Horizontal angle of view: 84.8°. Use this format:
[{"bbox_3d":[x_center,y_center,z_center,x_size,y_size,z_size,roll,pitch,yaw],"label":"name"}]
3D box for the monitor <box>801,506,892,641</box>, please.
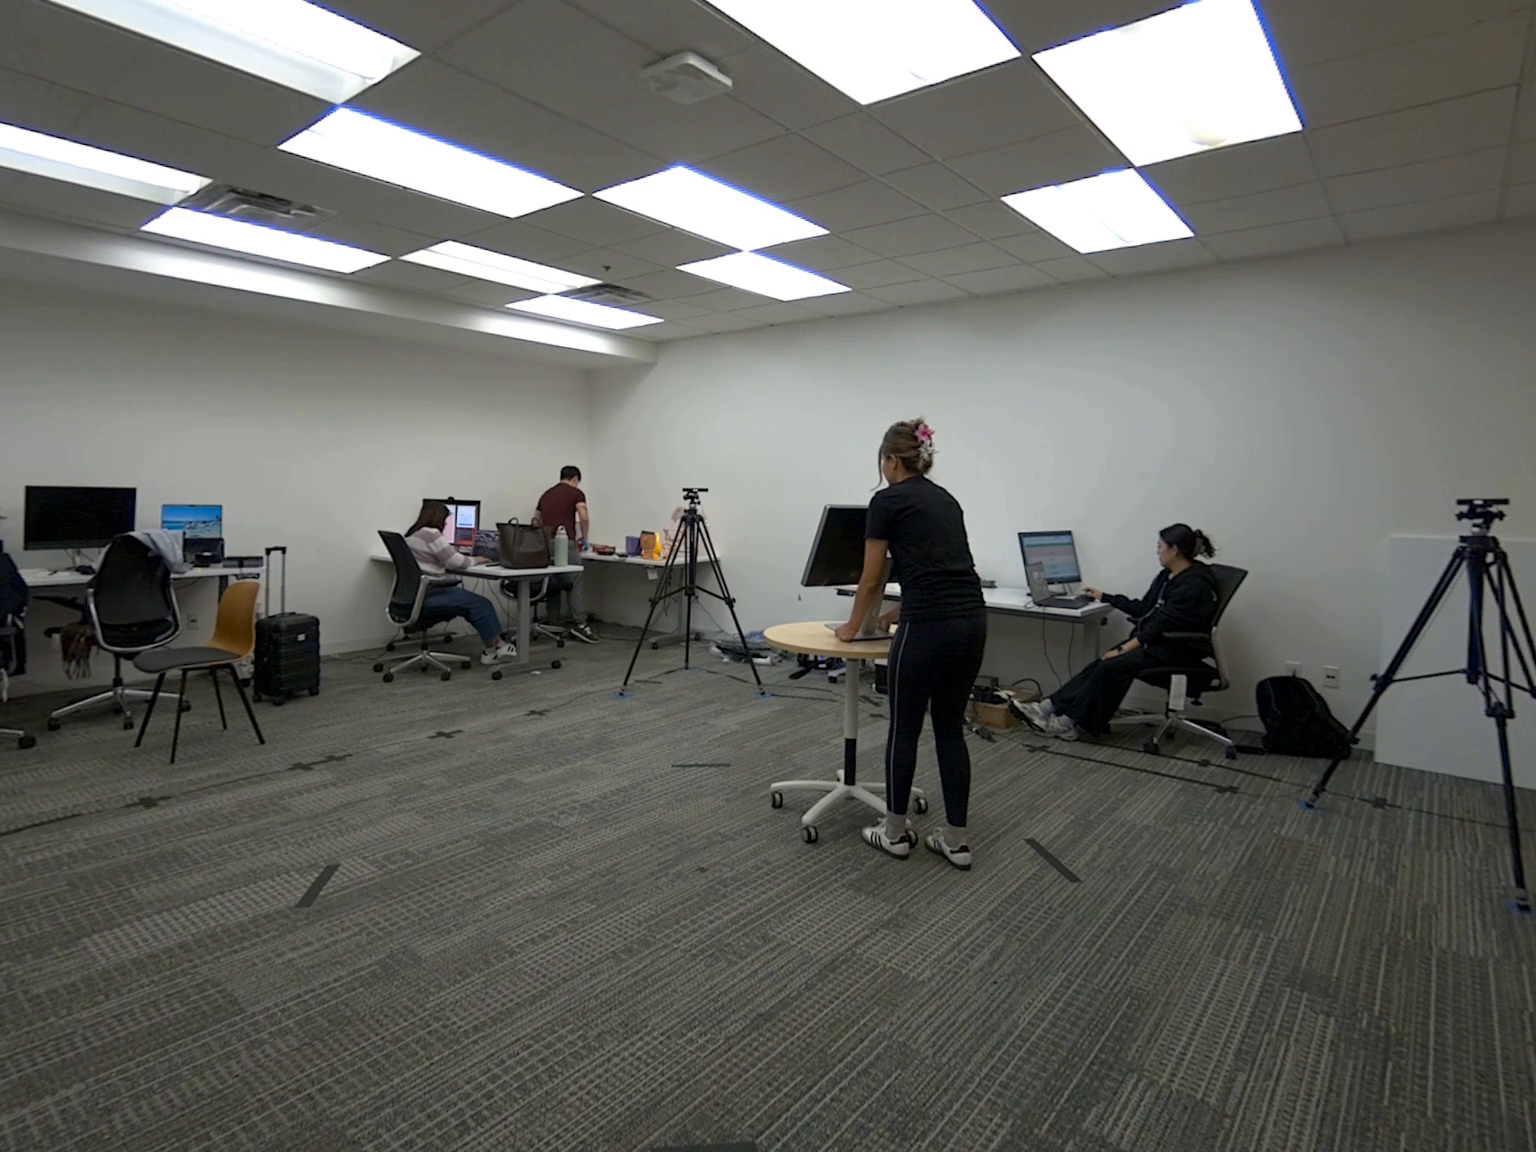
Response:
[{"bbox_3d":[0.412,-0.025,3.524,0.524,0.517,0.194,-2,14,-34],"label":"monitor"}]
